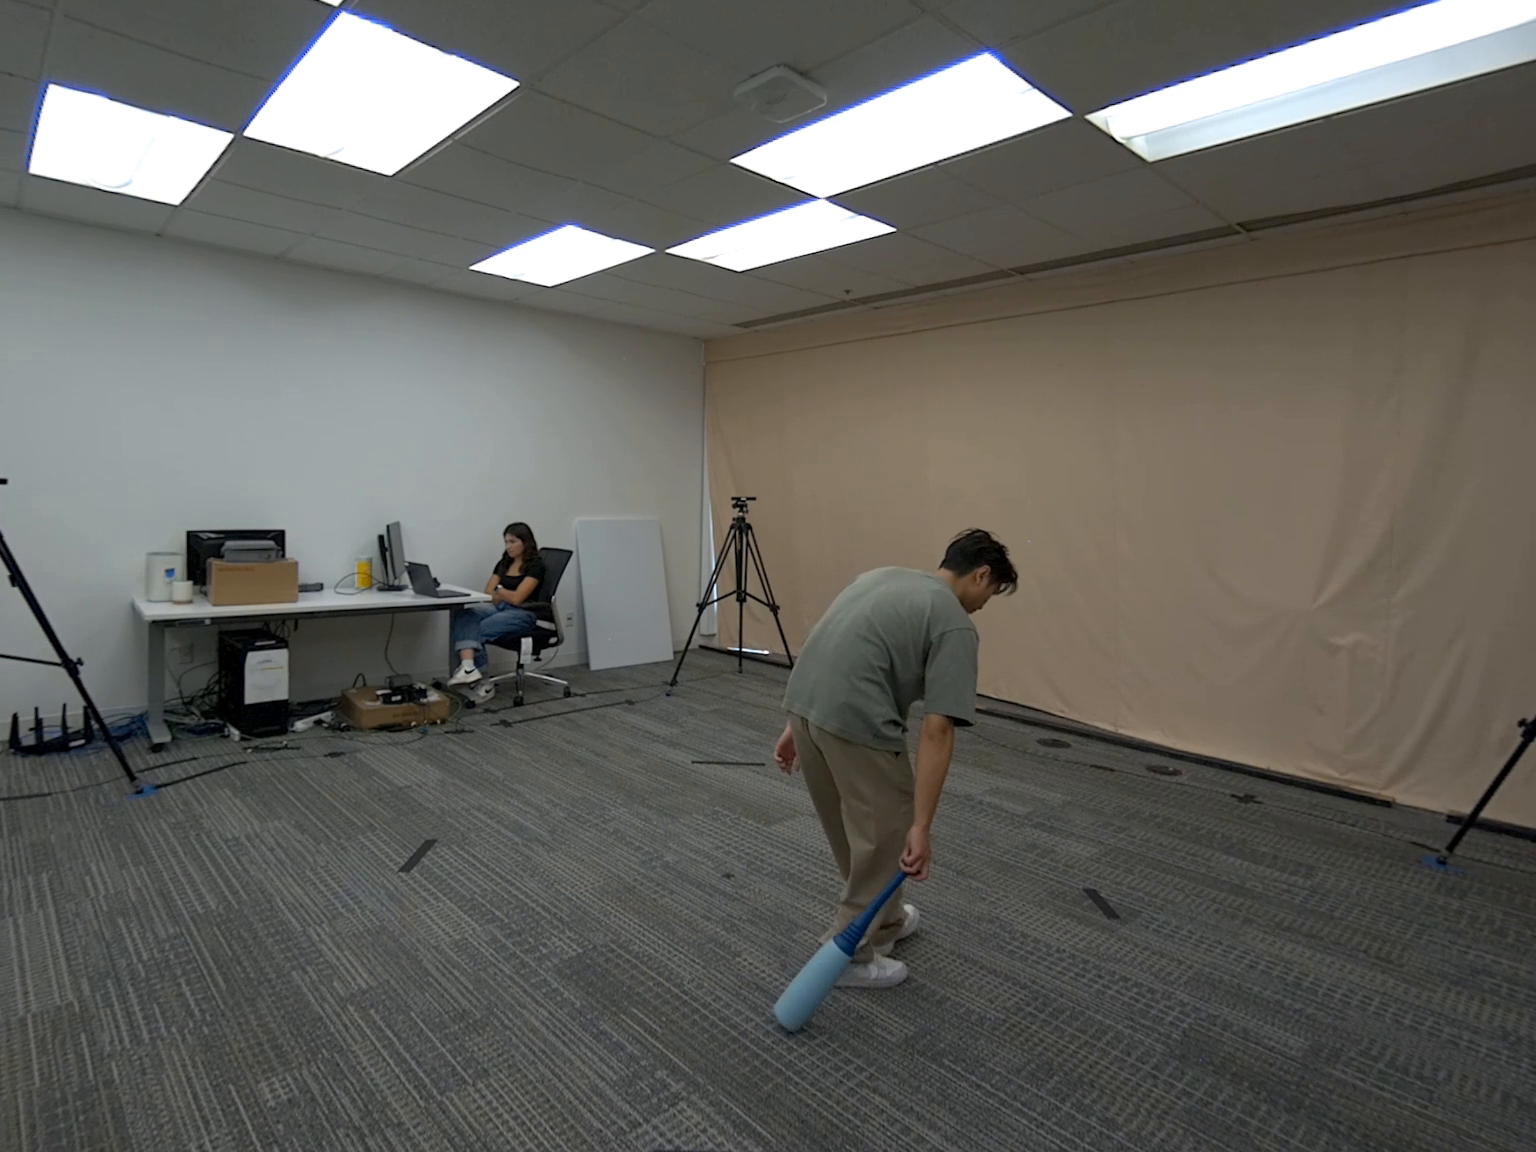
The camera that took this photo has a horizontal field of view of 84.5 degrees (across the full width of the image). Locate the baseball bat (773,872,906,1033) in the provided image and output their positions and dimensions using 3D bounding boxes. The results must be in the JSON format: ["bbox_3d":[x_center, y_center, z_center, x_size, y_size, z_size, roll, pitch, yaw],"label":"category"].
[{"bbox_3d":[0.205,0.971,2.212,0.089,0.543,0.089,40,1,-3],"label":"baseball bat"}]
